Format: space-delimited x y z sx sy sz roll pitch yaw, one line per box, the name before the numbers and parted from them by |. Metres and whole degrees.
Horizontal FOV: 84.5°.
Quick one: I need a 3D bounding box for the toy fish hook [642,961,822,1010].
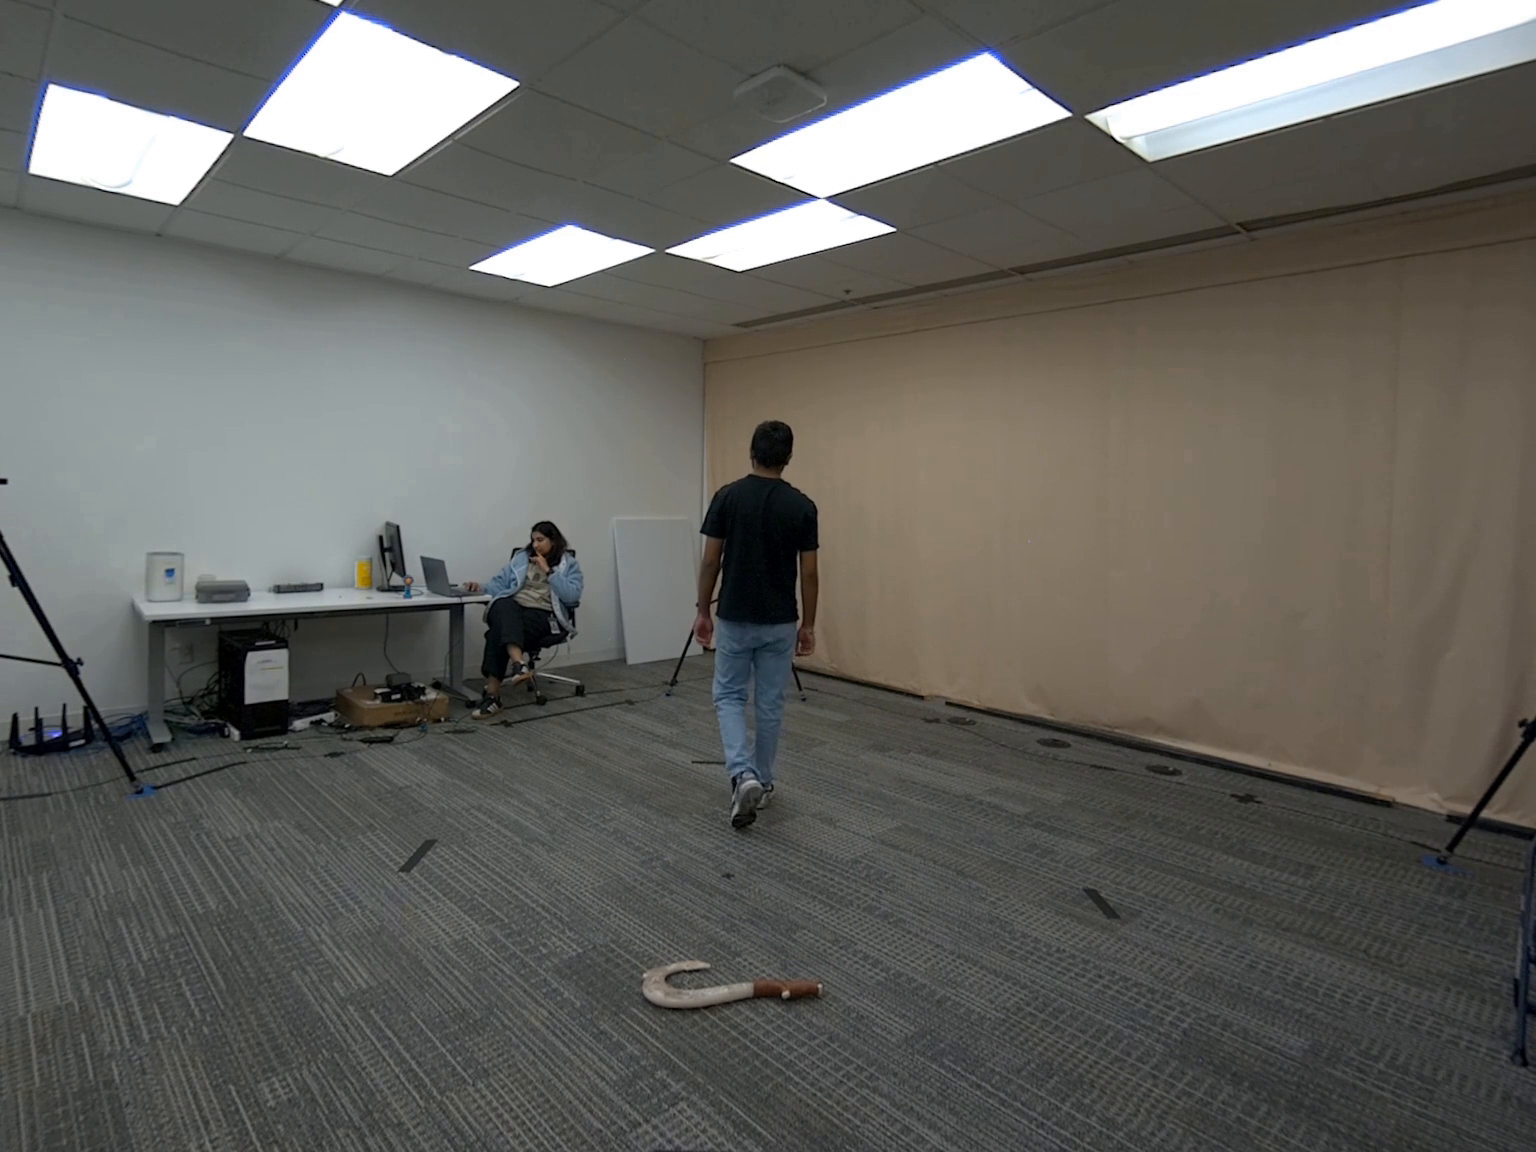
toy fish hook | -0.108 1.149 2.388 0.505 0.048 0.226 1 7 -5
